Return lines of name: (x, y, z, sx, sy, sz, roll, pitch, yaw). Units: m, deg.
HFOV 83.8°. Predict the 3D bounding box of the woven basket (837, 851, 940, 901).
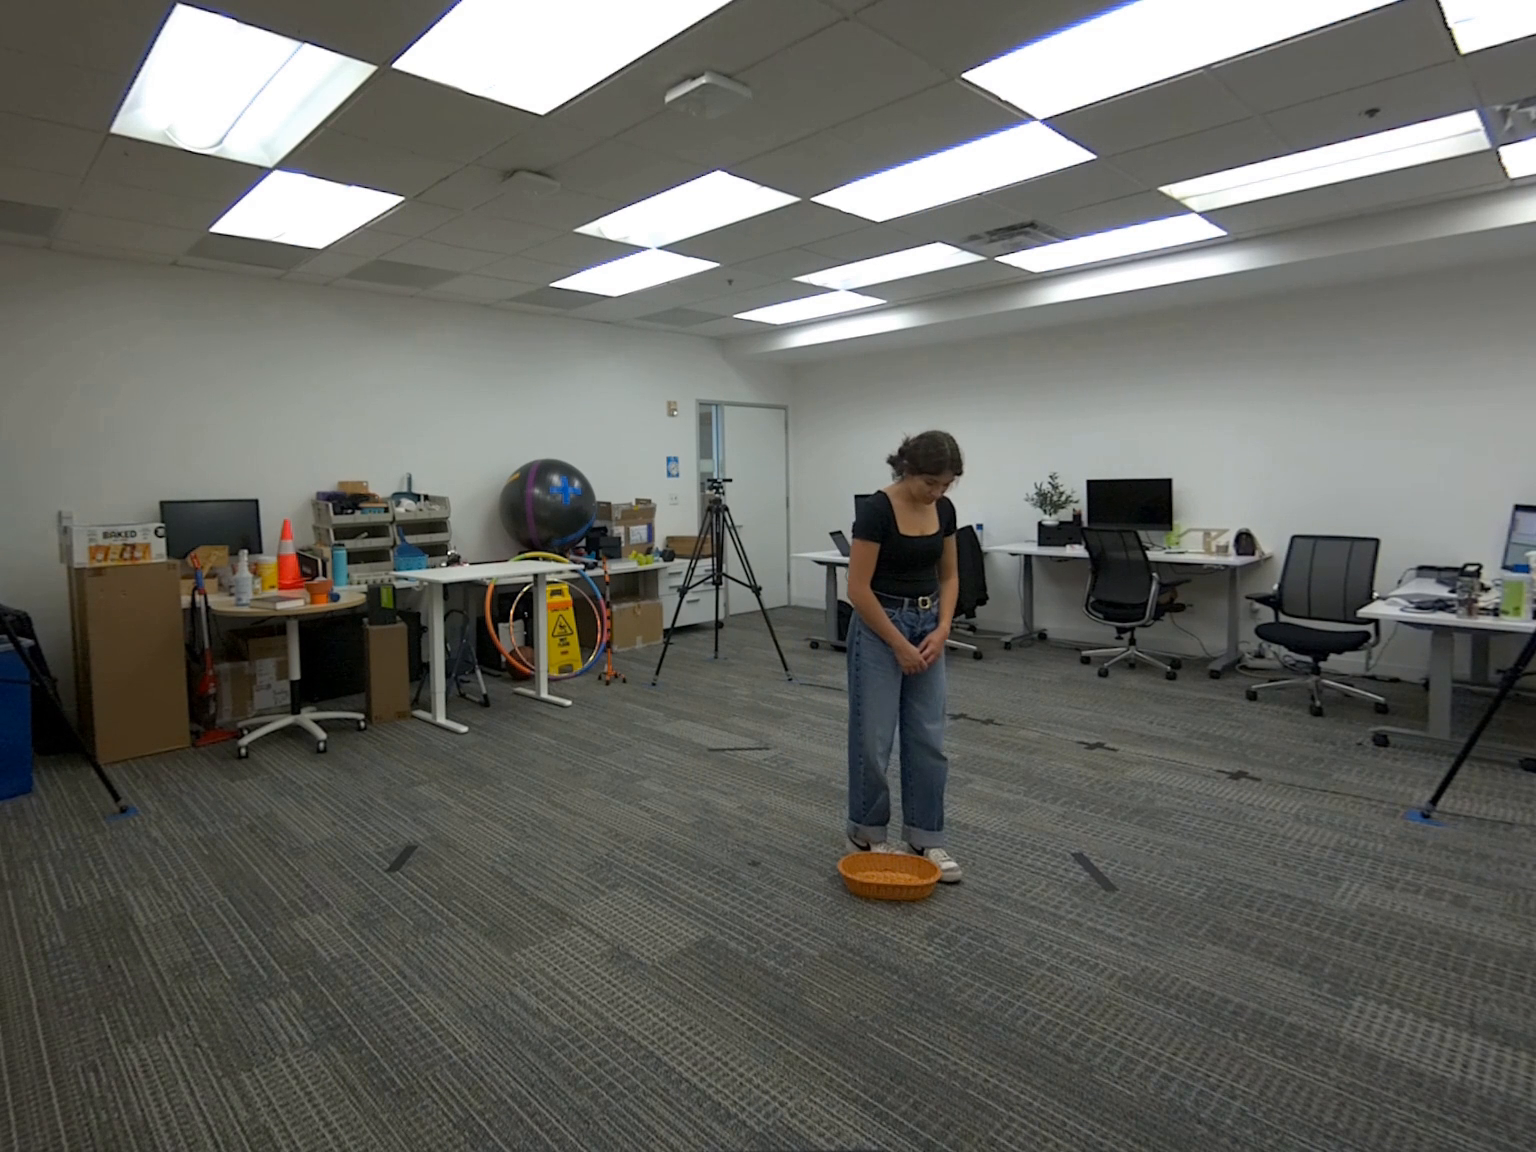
woven basket: (0.409, 1.024, 2.904, 0.355, 0.073, 0.250, 0, 5, 12)
